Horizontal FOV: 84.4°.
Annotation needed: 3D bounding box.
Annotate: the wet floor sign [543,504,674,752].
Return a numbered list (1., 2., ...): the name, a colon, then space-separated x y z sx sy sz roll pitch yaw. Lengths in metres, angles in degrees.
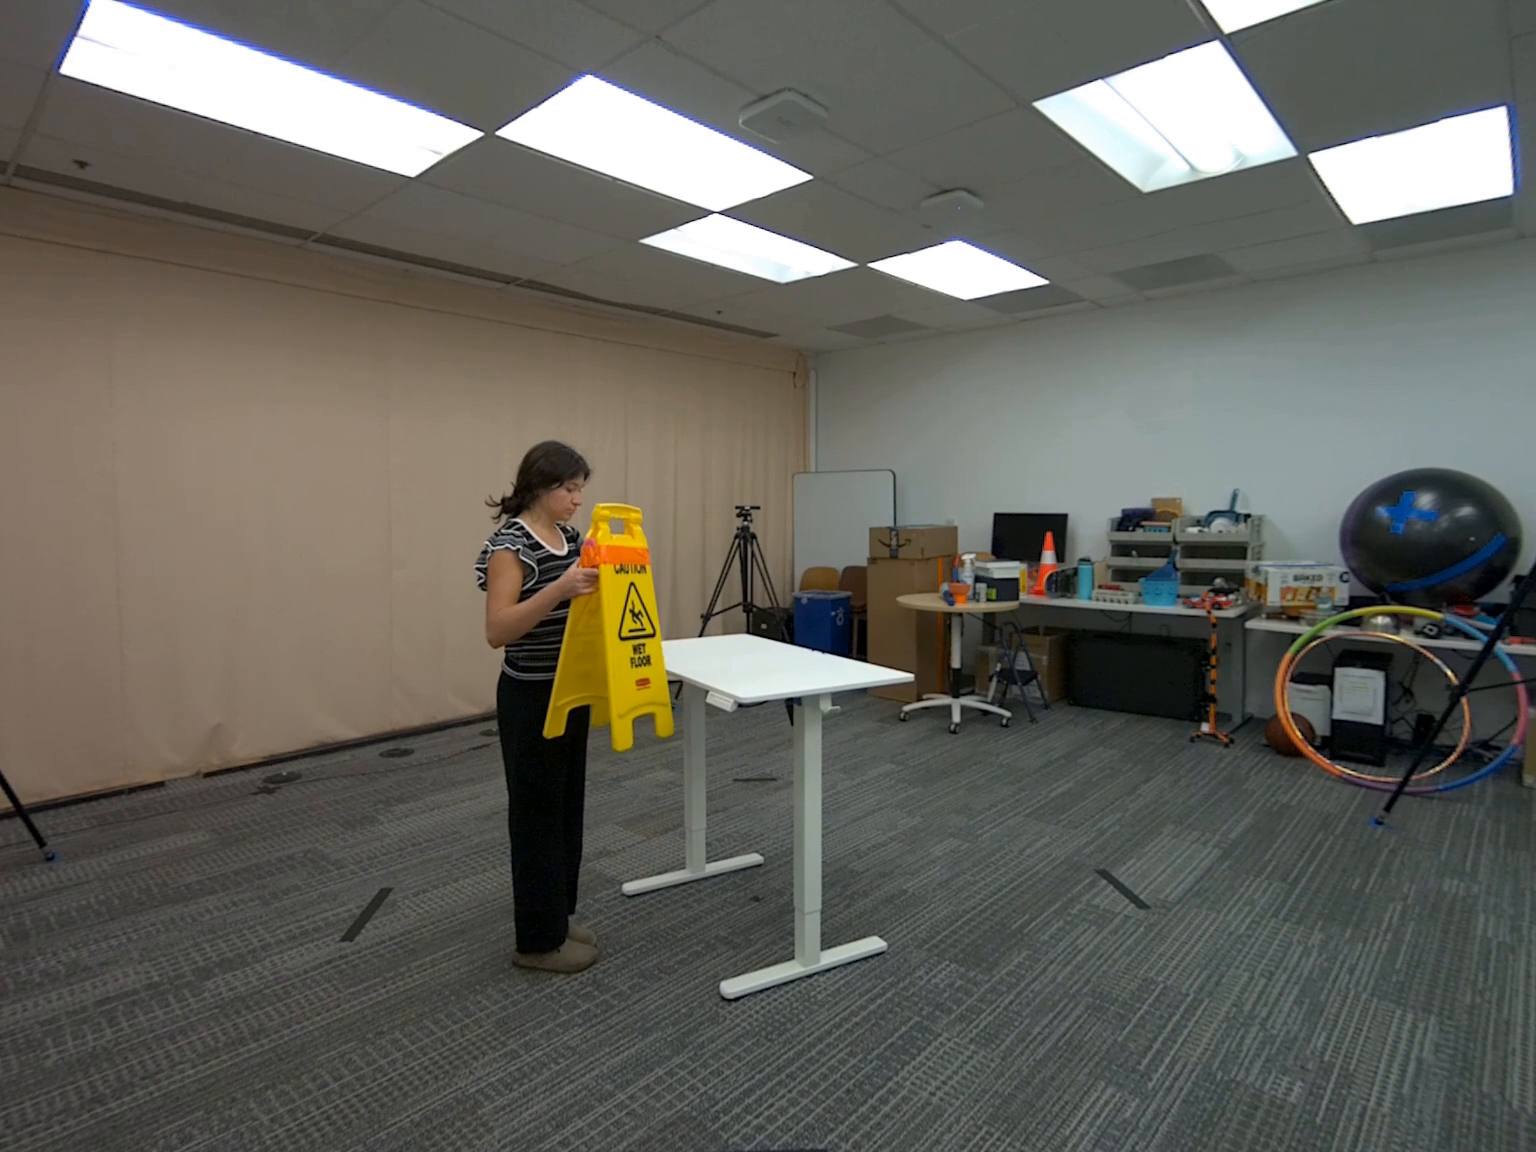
1. wet floor sign: -0.432 0.123 2.360 0.298 0.645 0.274 4 2 28
